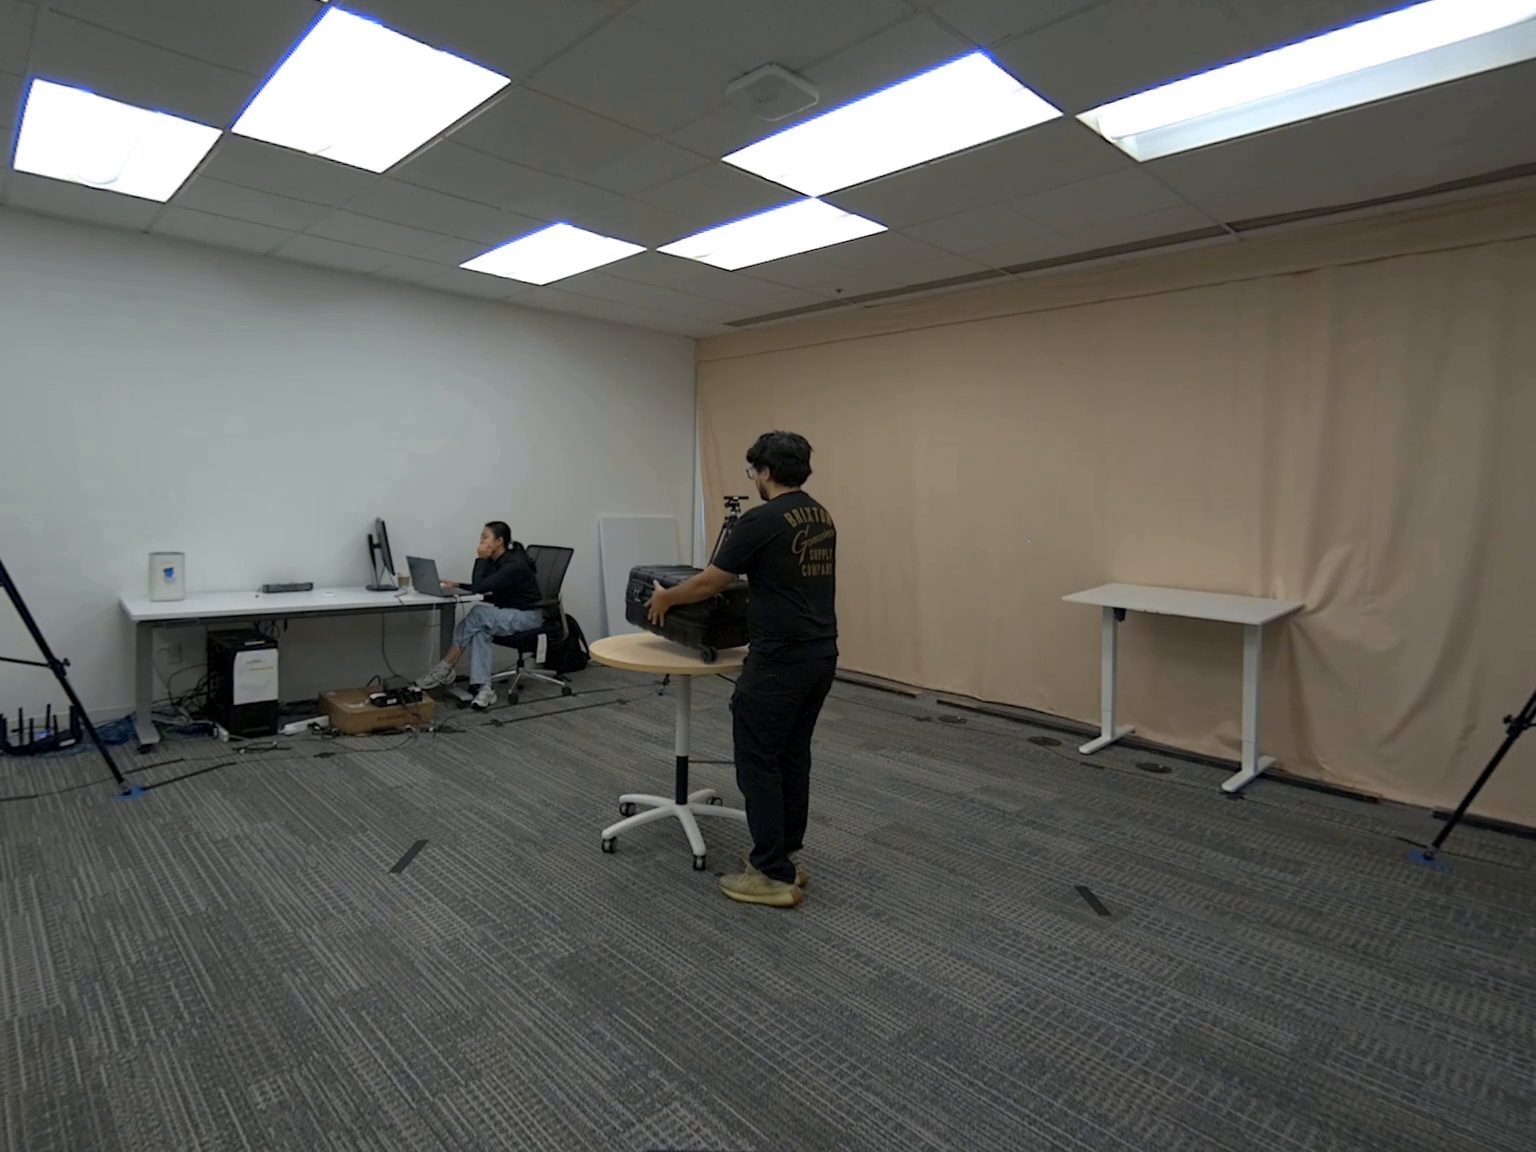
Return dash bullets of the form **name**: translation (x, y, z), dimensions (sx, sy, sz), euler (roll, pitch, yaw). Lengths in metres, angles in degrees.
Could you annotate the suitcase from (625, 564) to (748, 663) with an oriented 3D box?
- **suitcase**: translation (-0.296, 0.119, 3.352), dimensions (0.565, 0.247, 0.367), euler (15, 12, 40)
